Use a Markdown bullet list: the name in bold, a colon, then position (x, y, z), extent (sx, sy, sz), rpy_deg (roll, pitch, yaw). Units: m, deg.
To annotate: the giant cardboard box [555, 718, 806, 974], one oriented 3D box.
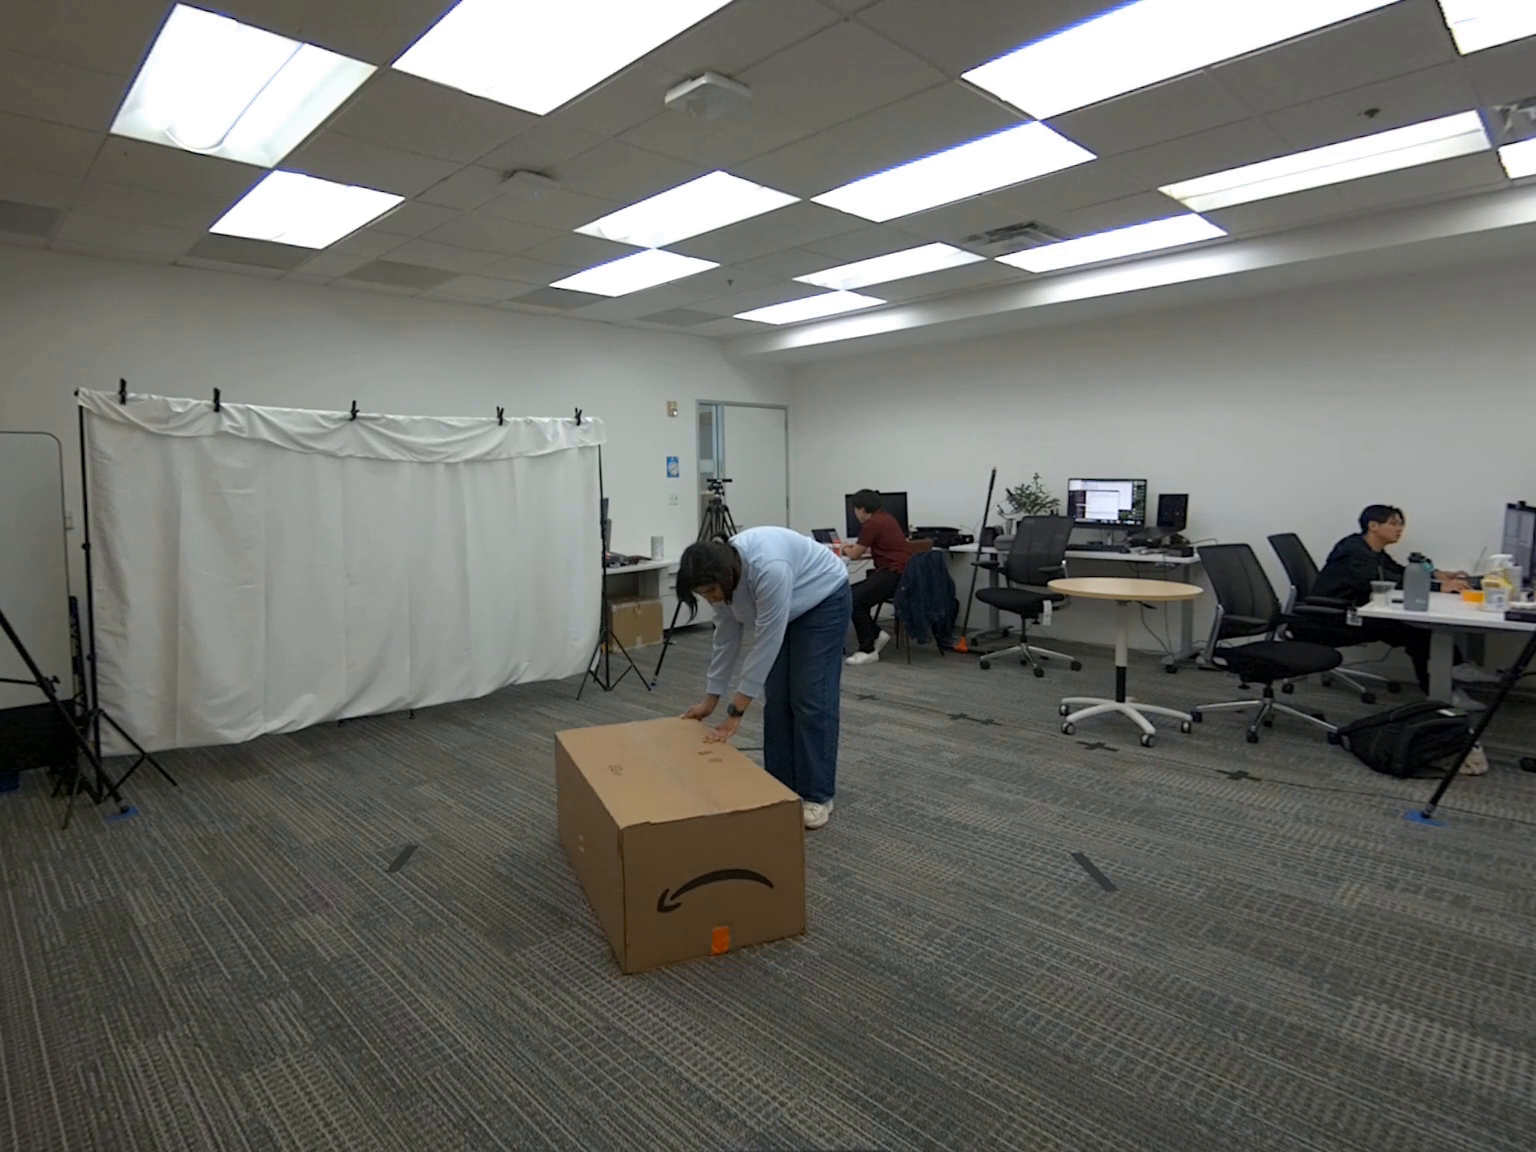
- **giant cardboard box**: position (-0.357, 0.854, 2.979), extent (0.566, 0.424, 1.050), rpy_deg (-3, 6, -23)
